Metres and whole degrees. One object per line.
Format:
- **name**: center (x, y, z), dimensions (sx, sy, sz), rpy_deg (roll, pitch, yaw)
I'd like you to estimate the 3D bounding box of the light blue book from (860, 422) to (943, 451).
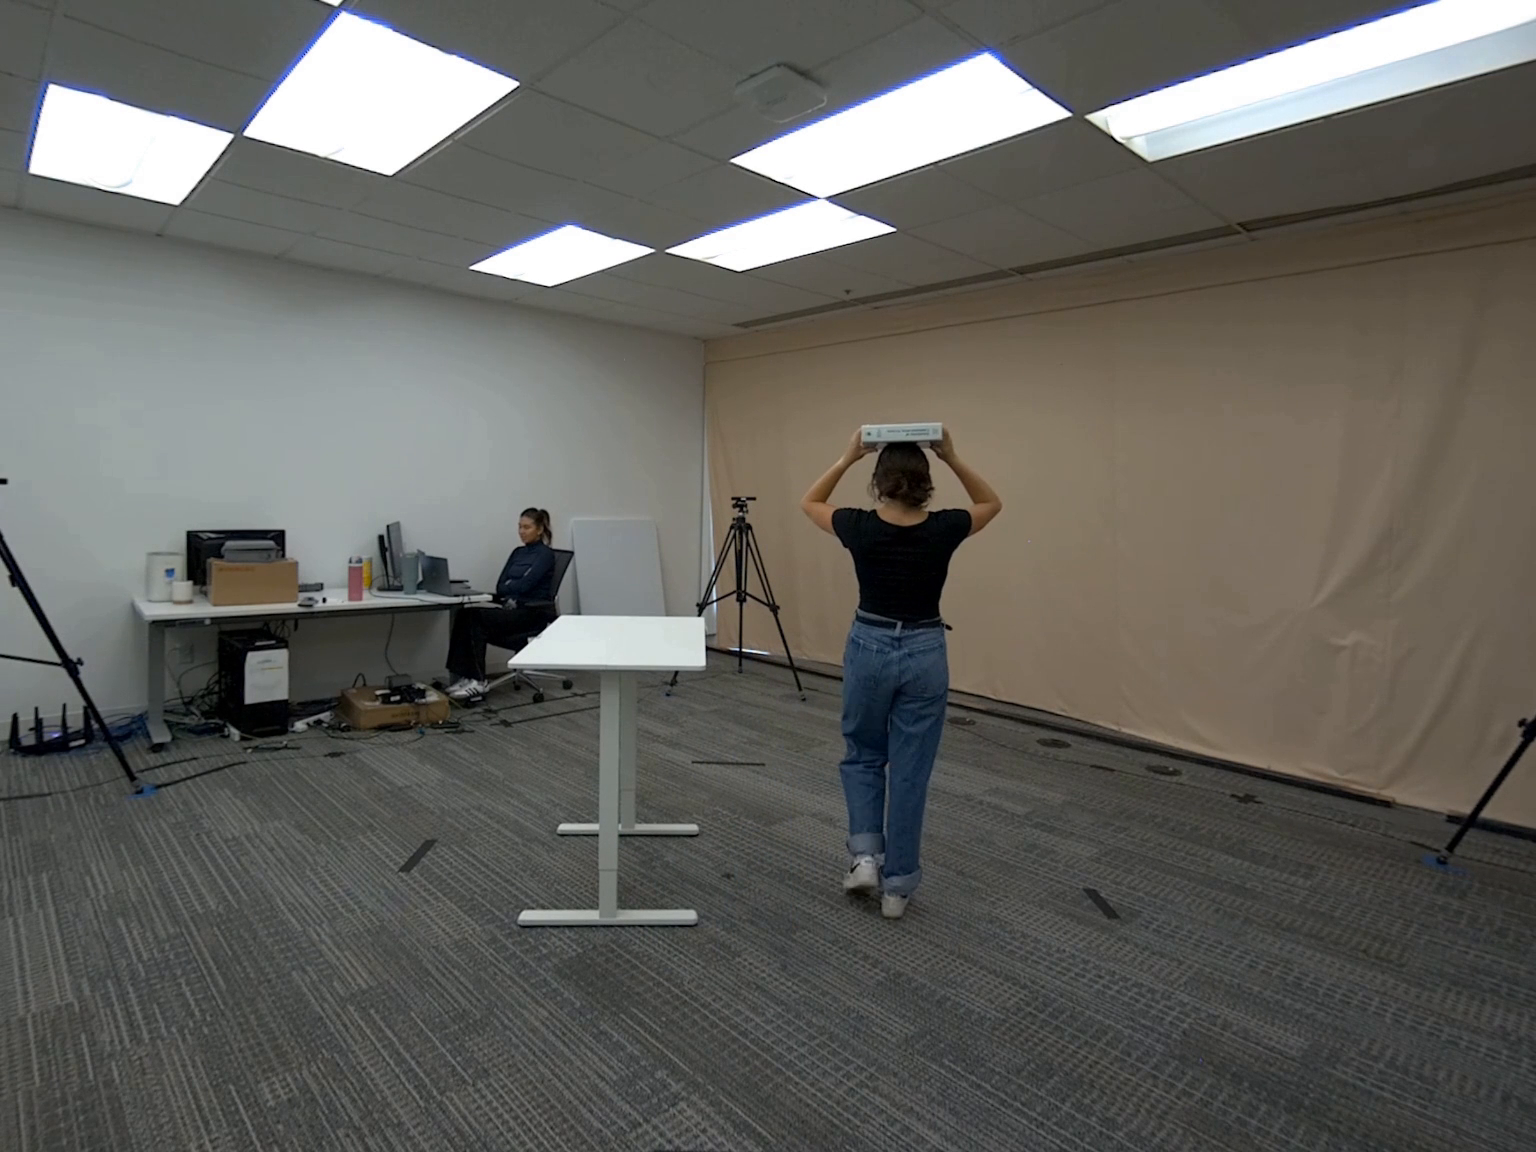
- **light blue book**: center (0.449, -0.472, 2.864), dimensions (0.262, 0.059, 0.190), rpy_deg (0, 1, 7)
